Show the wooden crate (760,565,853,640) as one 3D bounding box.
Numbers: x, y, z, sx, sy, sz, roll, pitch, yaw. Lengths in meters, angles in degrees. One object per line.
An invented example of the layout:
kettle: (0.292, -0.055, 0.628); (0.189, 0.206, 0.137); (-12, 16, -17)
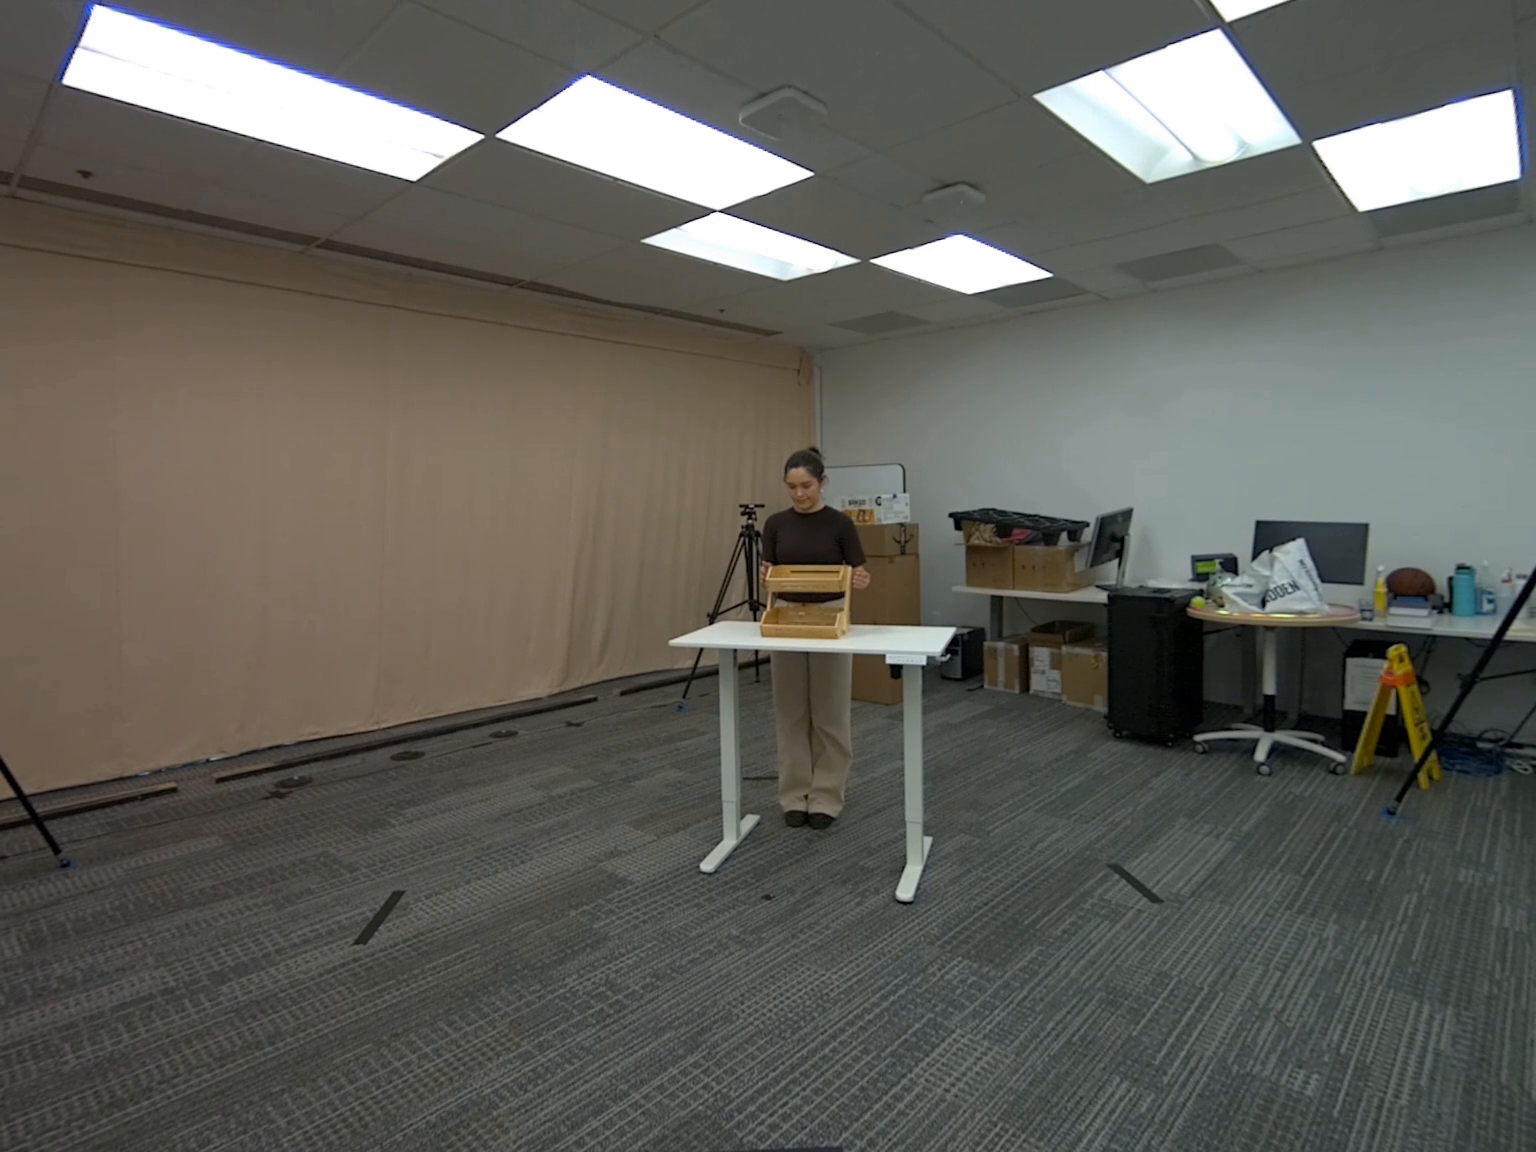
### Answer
wooden crate: (0.155, 0.092, 3.319); (0.331, 0.273, 0.297); (0, 3, 17)
